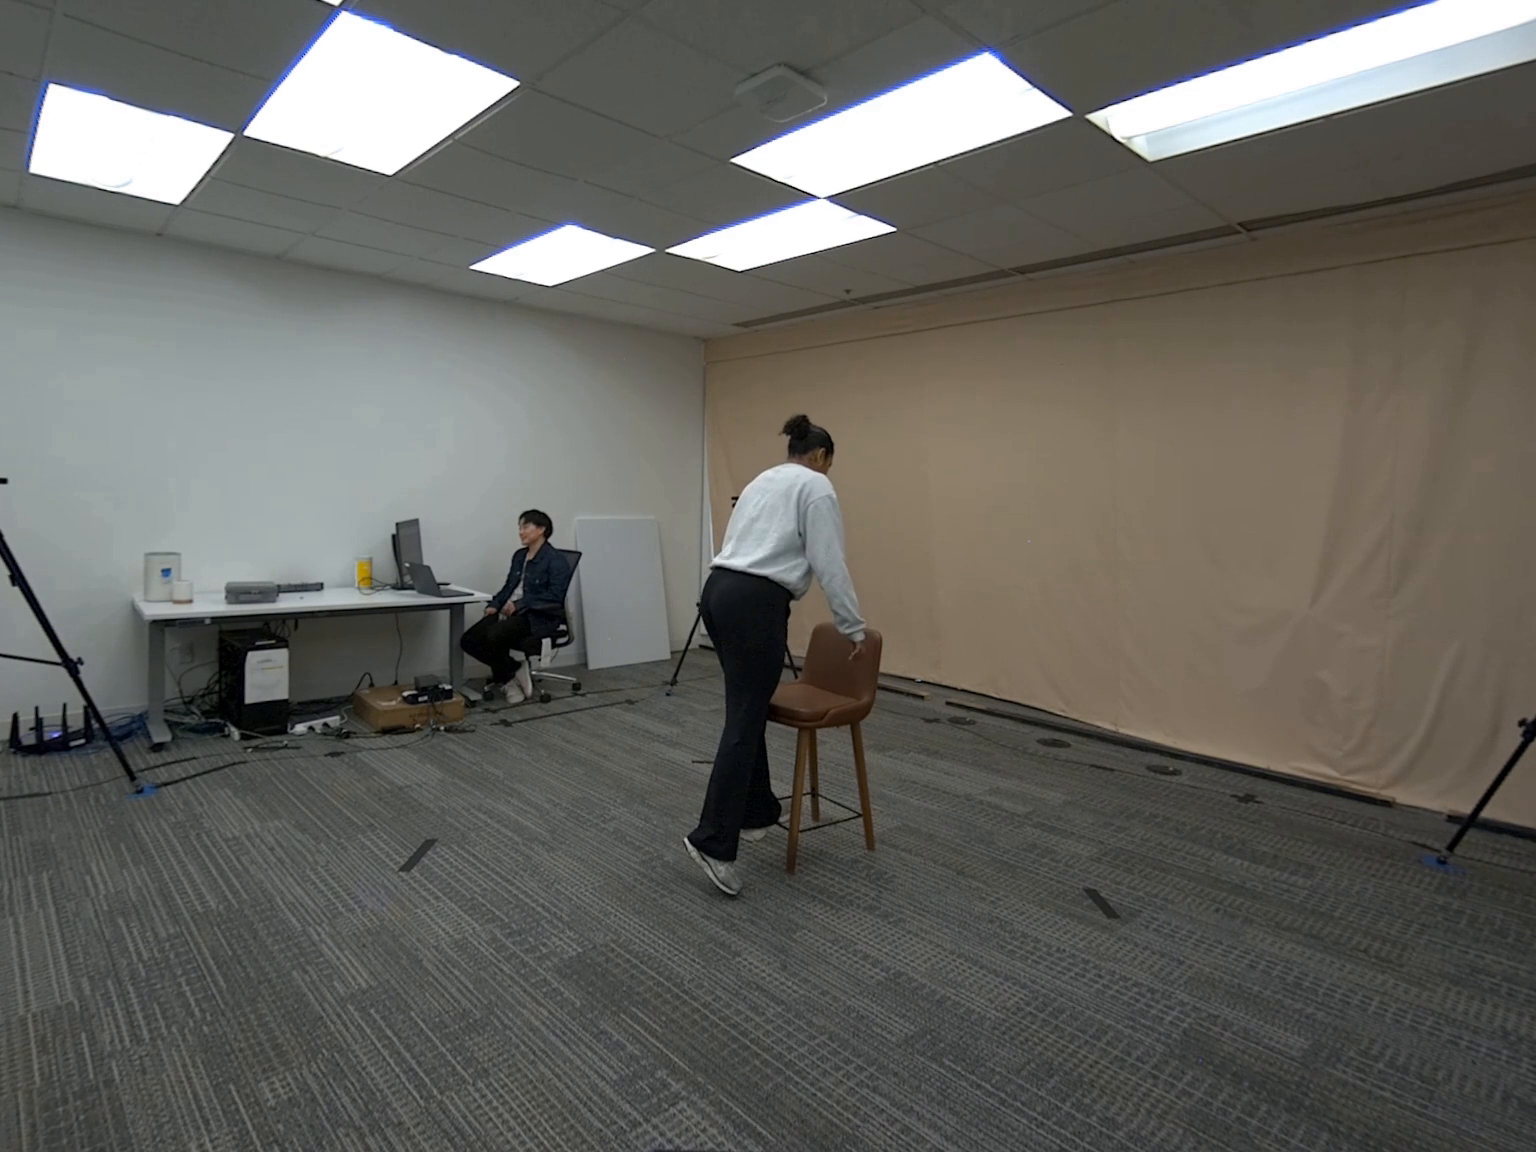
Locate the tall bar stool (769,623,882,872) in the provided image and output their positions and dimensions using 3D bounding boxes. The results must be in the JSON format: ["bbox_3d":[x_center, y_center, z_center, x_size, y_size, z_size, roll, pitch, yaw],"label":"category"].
[{"bbox_3d":[0.150,0.651,3.393,0.457,0.888,0.467,1,2,-35],"label":"tall bar stool"}]
